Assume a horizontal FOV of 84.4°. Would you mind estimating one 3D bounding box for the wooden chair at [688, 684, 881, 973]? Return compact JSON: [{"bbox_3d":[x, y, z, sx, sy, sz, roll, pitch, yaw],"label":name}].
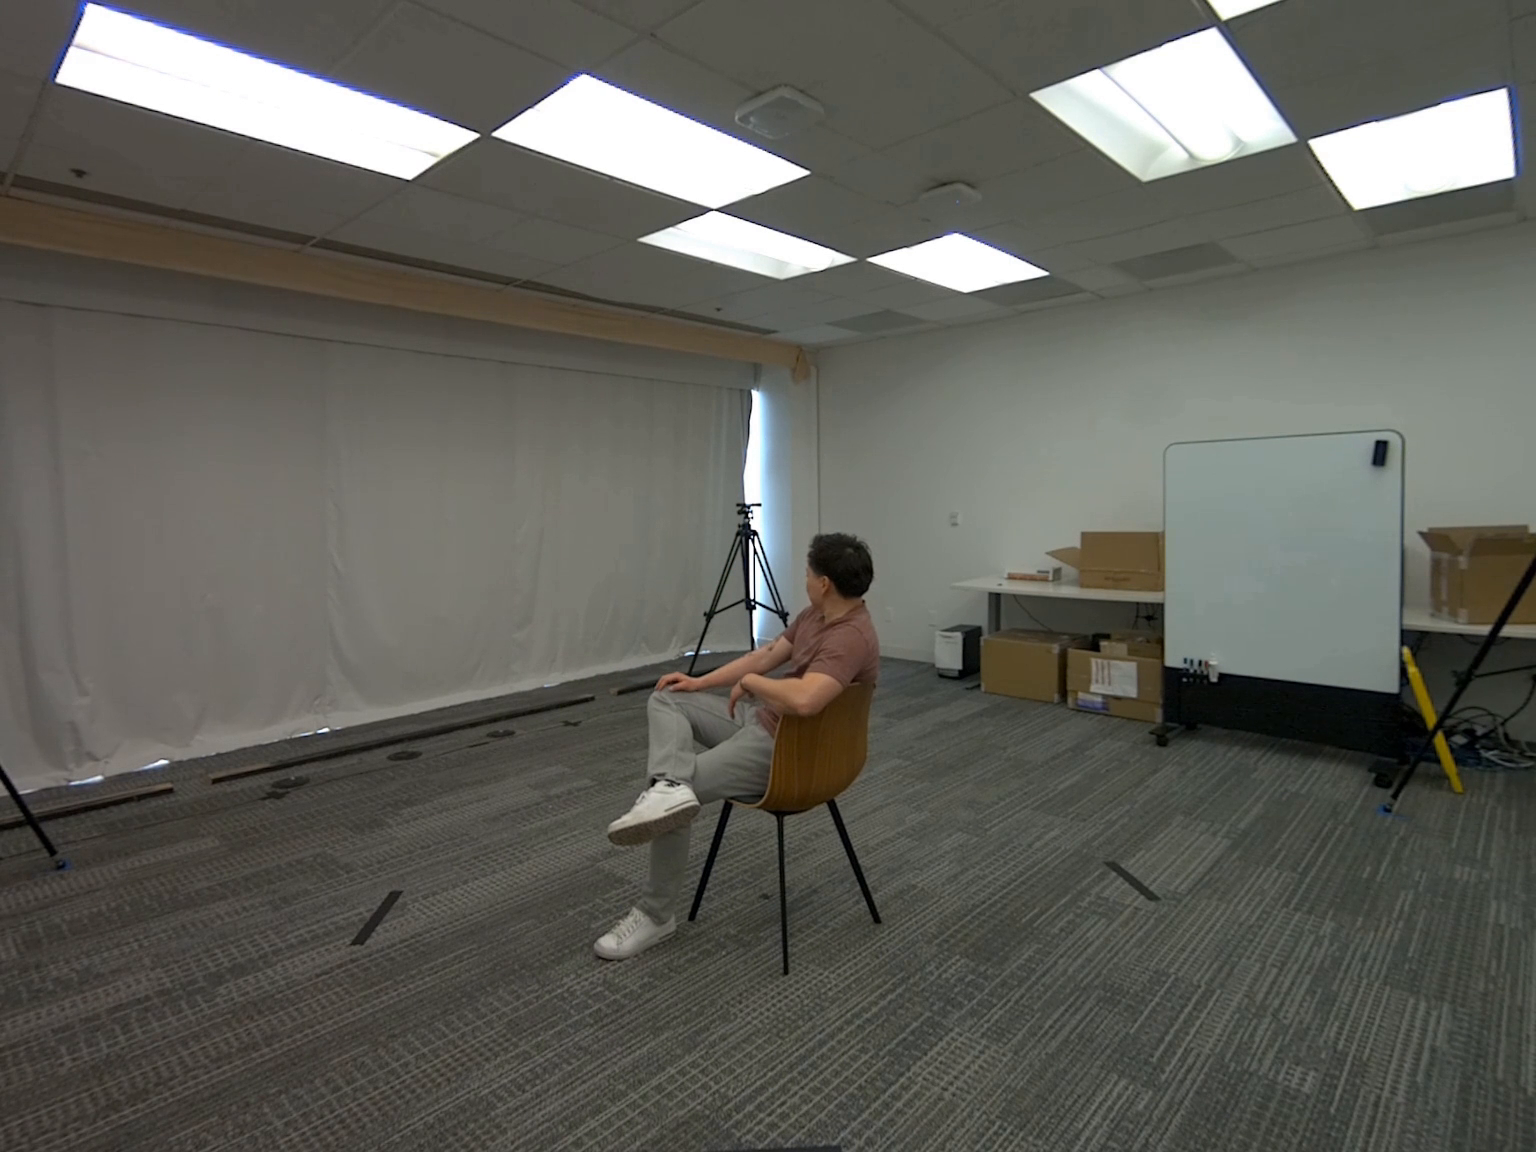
[{"bbox_3d":[0.047,0.727,2.778,0.463,0.874,0.541,-4,9,-43],"label":"wooden chair"}]
